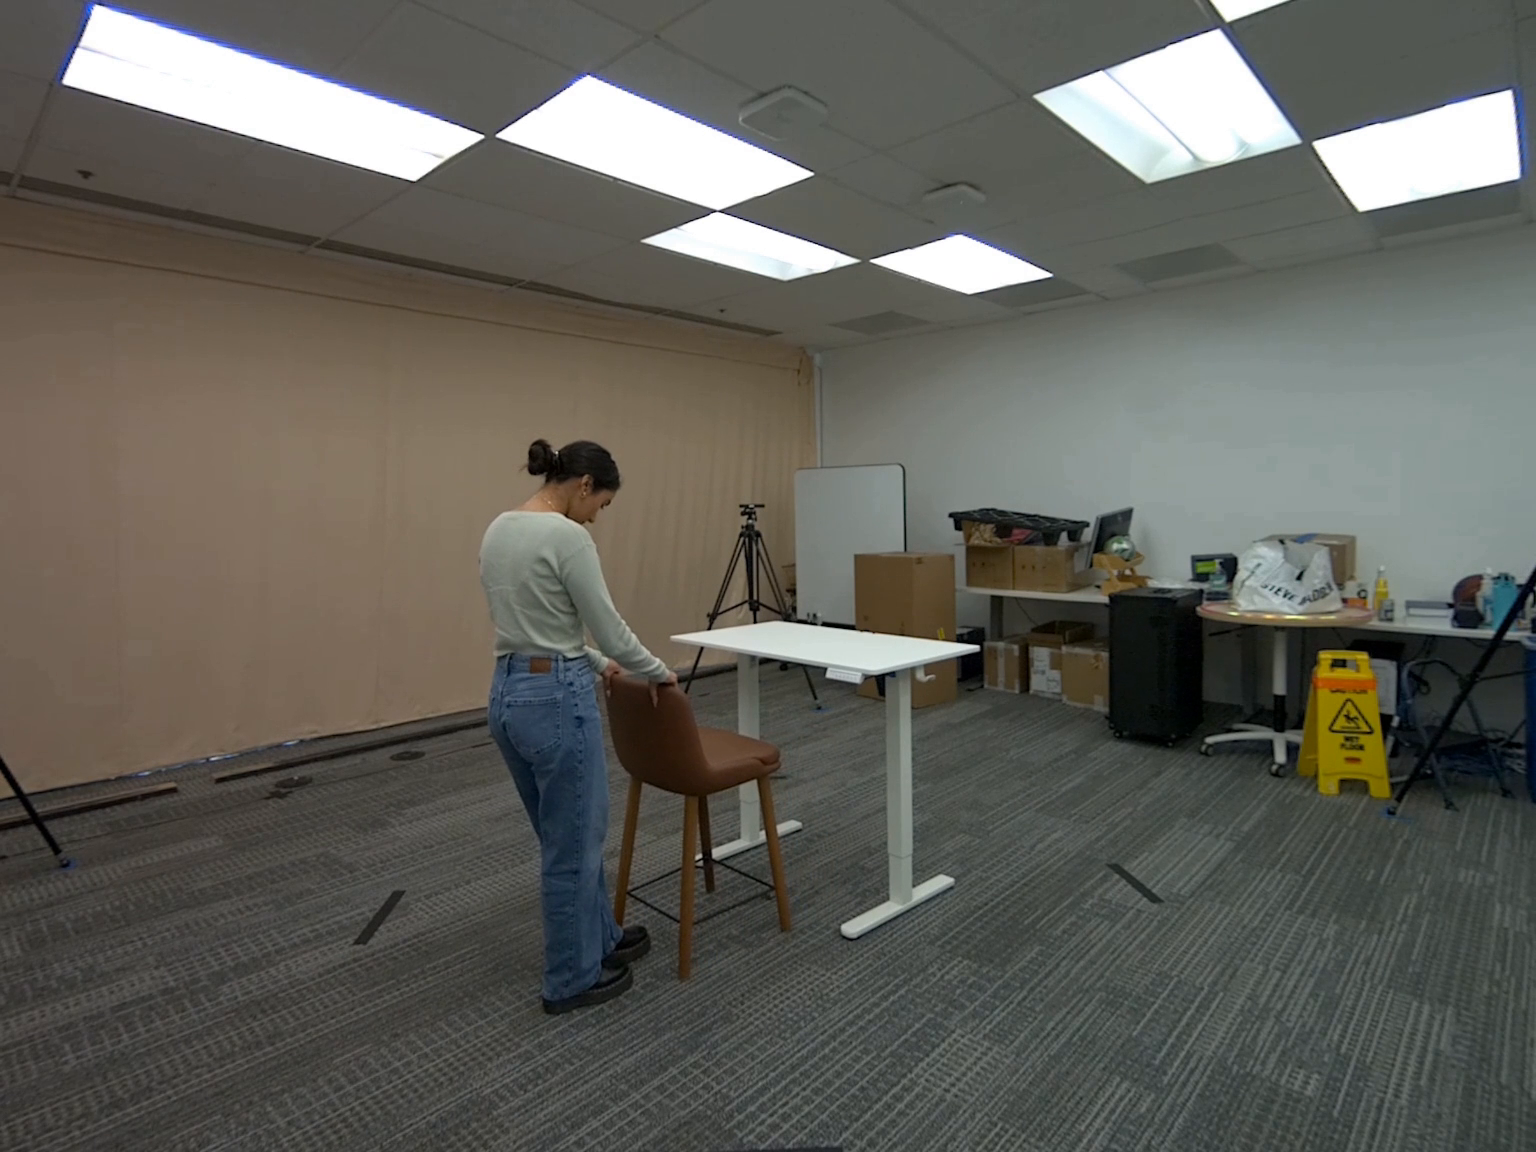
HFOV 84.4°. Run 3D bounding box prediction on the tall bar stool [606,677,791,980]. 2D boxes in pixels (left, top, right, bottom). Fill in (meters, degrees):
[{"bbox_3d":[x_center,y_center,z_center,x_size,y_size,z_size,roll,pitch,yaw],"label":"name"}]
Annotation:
[{"bbox_3d":[-0.236,0.725,2.723,0.454,0.887,0.471,-7,6,-43],"label":"tall bar stool"}]
